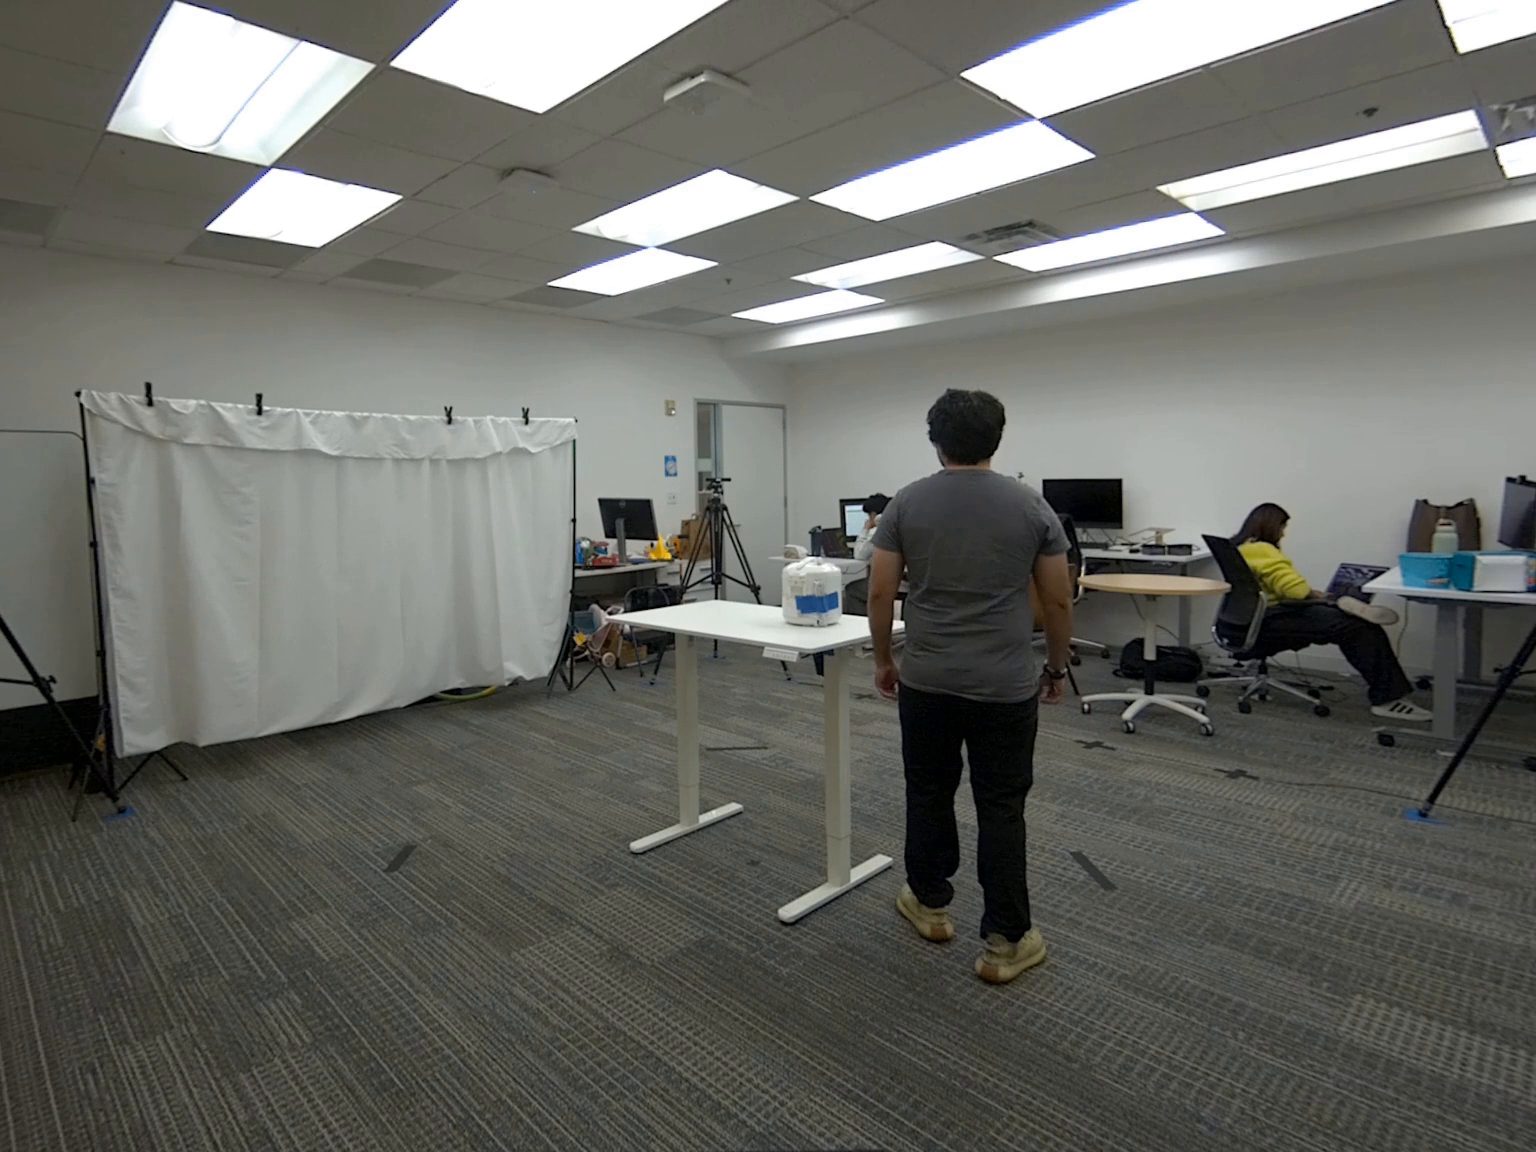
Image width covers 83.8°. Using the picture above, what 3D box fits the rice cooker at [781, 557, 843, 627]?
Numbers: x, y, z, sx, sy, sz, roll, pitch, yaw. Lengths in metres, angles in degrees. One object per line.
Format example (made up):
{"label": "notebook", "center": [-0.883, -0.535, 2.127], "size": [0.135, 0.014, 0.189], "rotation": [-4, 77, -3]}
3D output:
{"label": "rice cooker", "center": [0.152, 0.050, 2.999], "size": [0.223, 0.232, 0.215], "rotation": [3, 5, 34]}
